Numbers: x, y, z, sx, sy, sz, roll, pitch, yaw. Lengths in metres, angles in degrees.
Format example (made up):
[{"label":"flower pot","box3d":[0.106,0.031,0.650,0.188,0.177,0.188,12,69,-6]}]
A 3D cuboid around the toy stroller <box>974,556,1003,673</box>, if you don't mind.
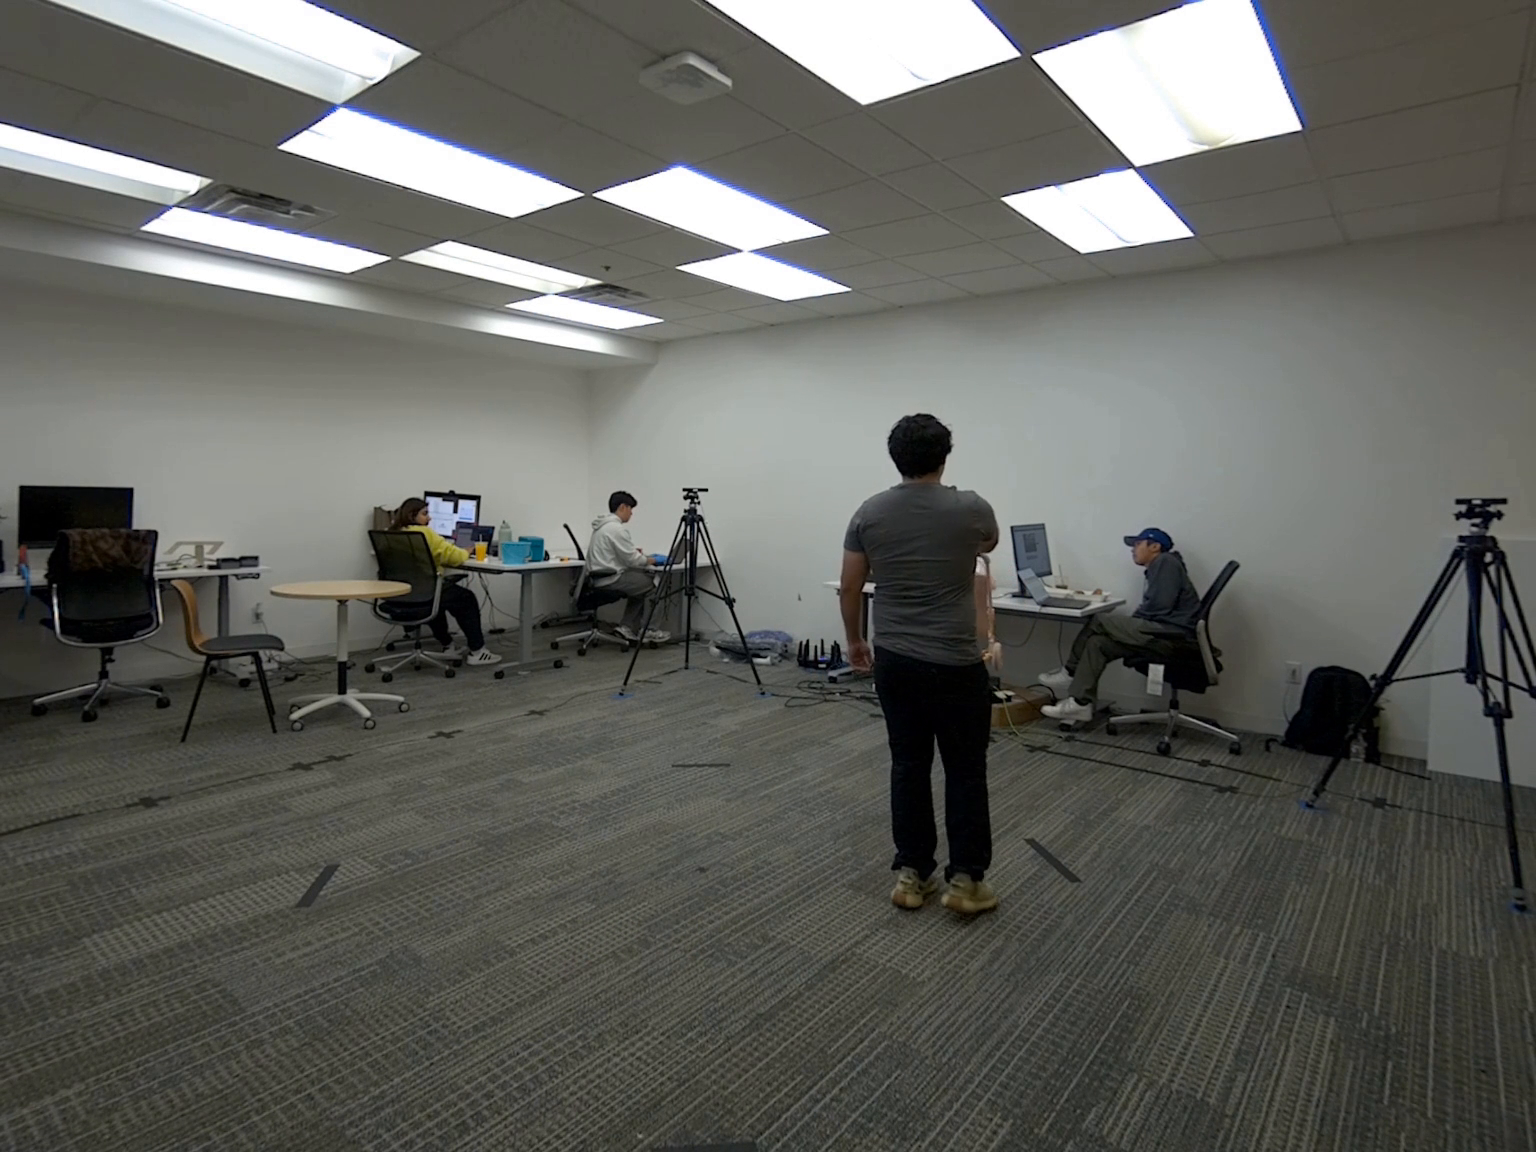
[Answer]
[{"label":"toy stroller","box3d":[0.801,0.155,3.507,0.288,0.534,0.334,0,1,23]}]
